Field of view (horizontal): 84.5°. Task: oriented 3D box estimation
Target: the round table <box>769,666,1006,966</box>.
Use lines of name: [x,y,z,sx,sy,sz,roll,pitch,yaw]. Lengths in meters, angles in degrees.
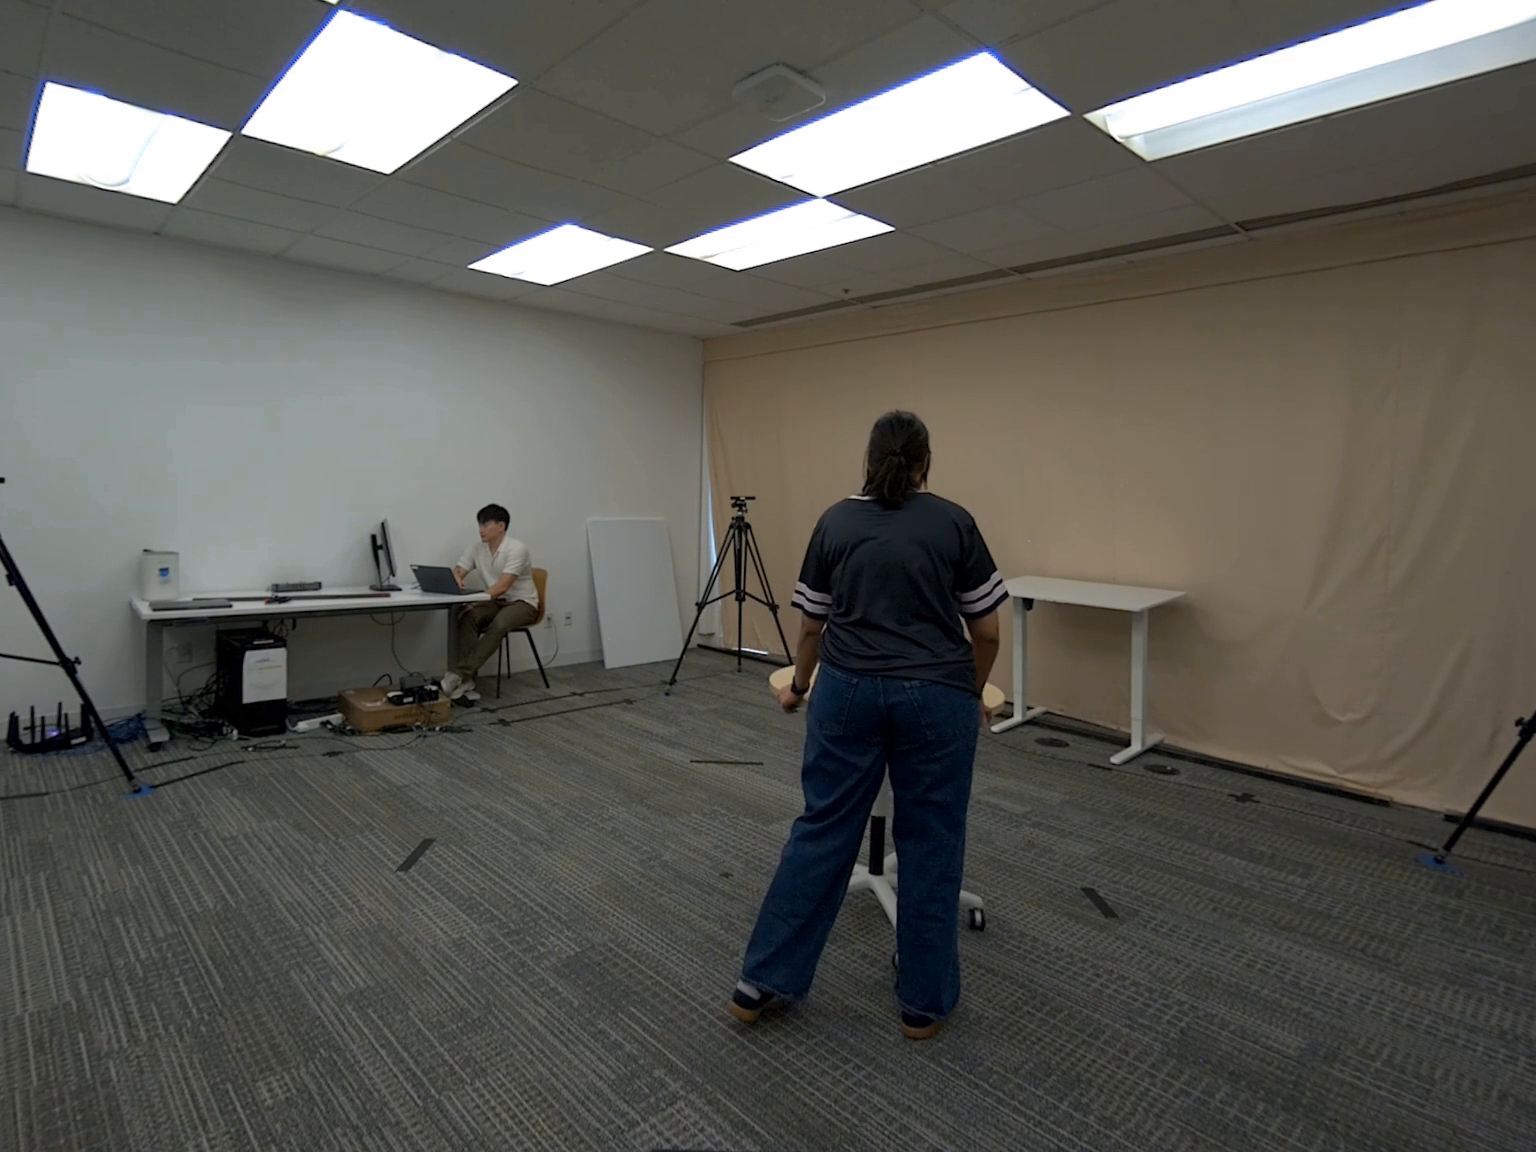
round table: [0.352,0.753,2.823,0.784,0.784,0.788,2,4,-2]
